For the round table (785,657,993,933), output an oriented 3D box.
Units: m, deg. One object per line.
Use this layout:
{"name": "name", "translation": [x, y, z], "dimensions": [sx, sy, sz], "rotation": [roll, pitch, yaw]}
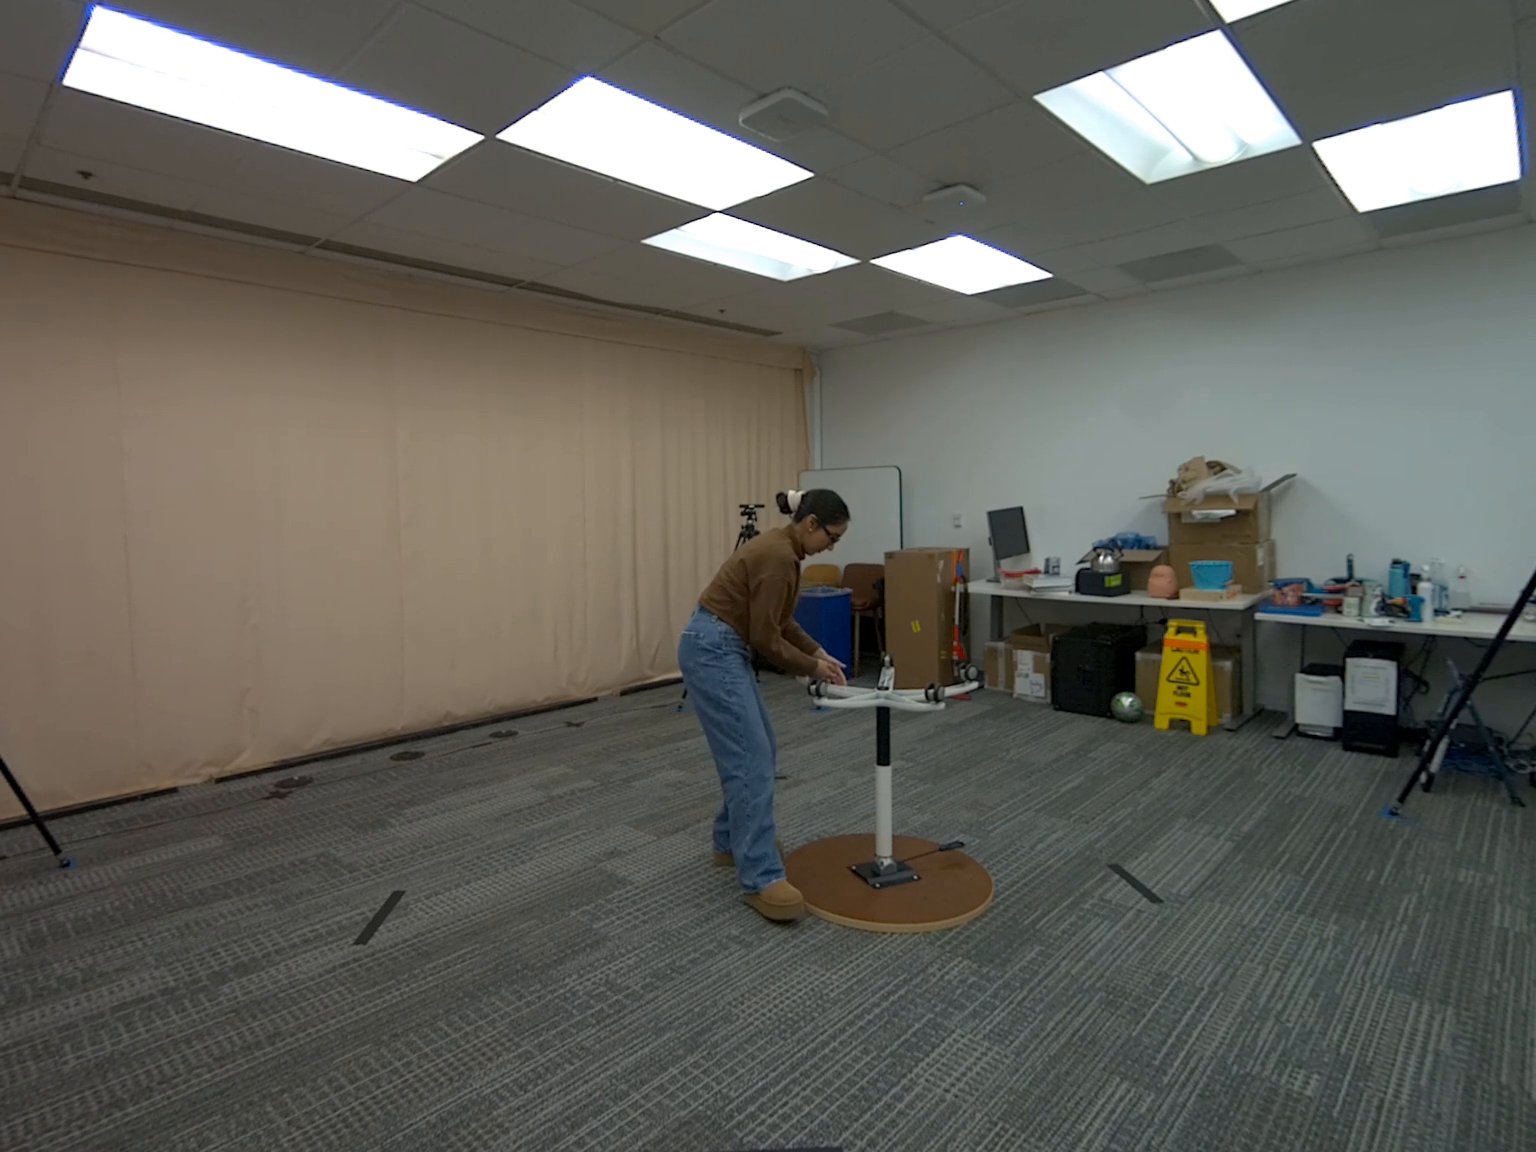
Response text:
{"name": "round table", "translation": [0.438, 0.732, 3.073], "dimensions": [0.763, 0.792, 0.767], "rotation": [0, 4, -2]}
